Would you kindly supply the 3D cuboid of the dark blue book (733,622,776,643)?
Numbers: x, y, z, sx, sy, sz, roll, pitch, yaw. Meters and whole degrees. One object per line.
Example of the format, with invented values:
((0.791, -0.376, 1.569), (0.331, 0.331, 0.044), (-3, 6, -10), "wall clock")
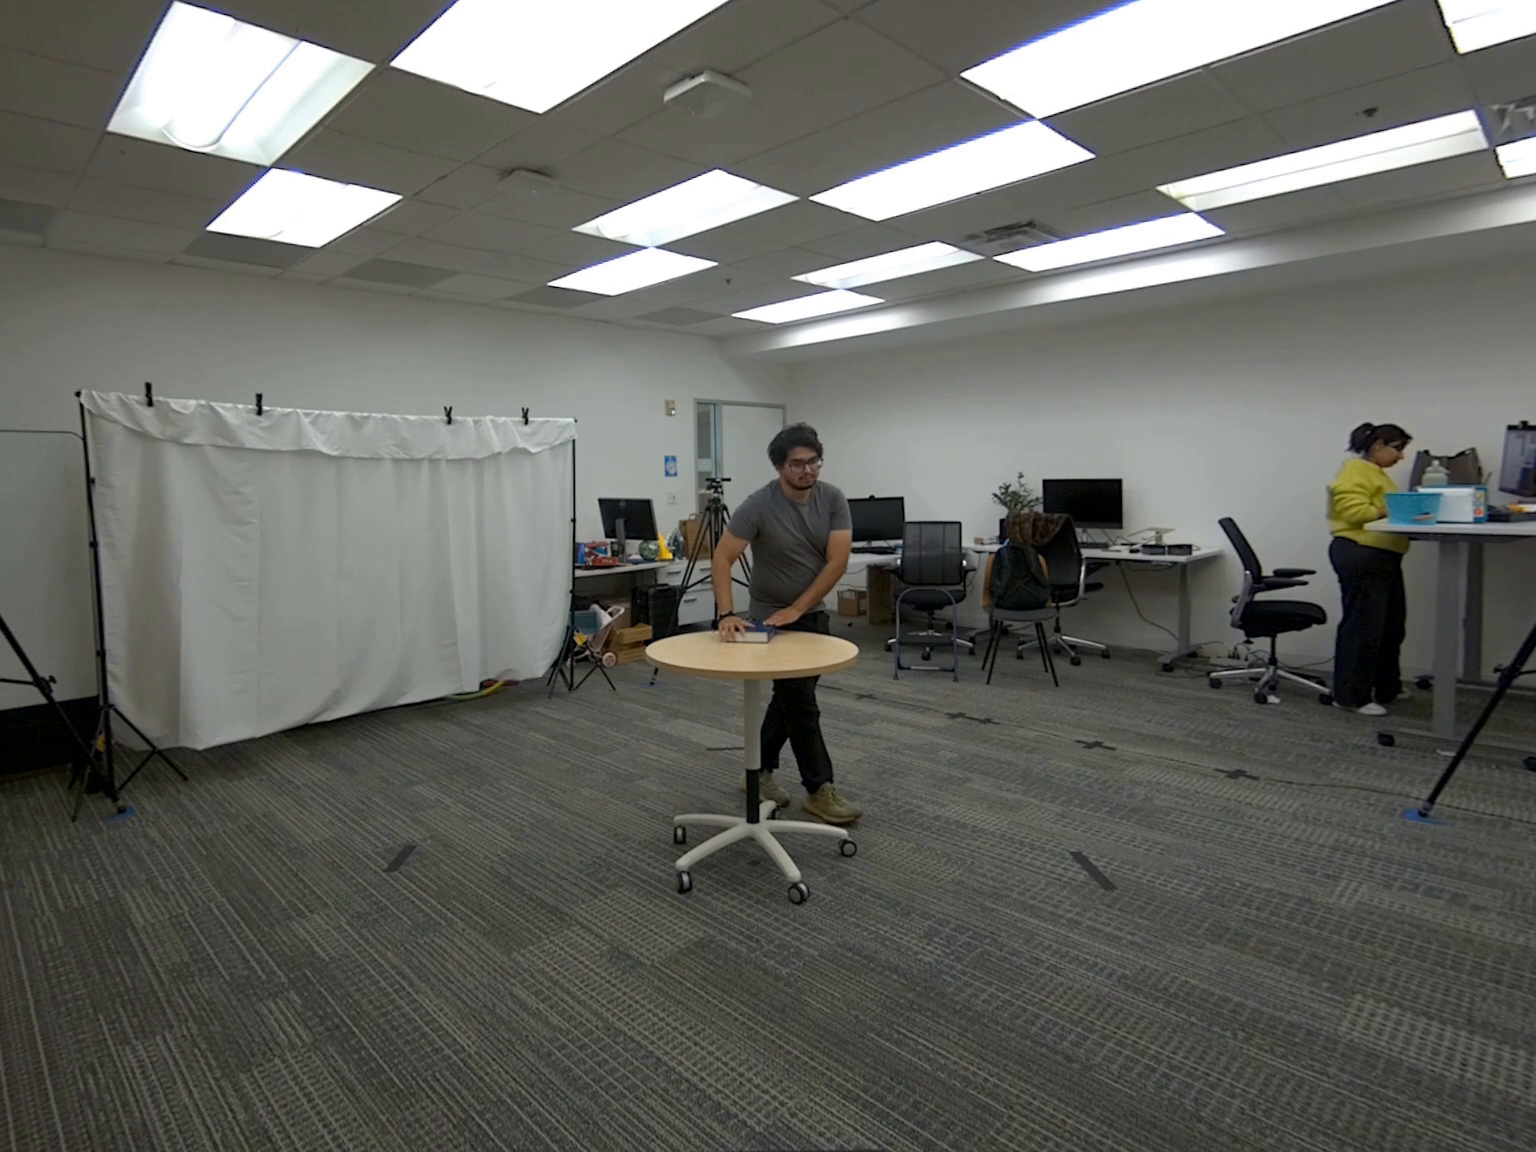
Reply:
((-0.058, 0.220, 3.307), (0.165, 0.045, 0.243), (0, 6, 9), "dark blue book")
